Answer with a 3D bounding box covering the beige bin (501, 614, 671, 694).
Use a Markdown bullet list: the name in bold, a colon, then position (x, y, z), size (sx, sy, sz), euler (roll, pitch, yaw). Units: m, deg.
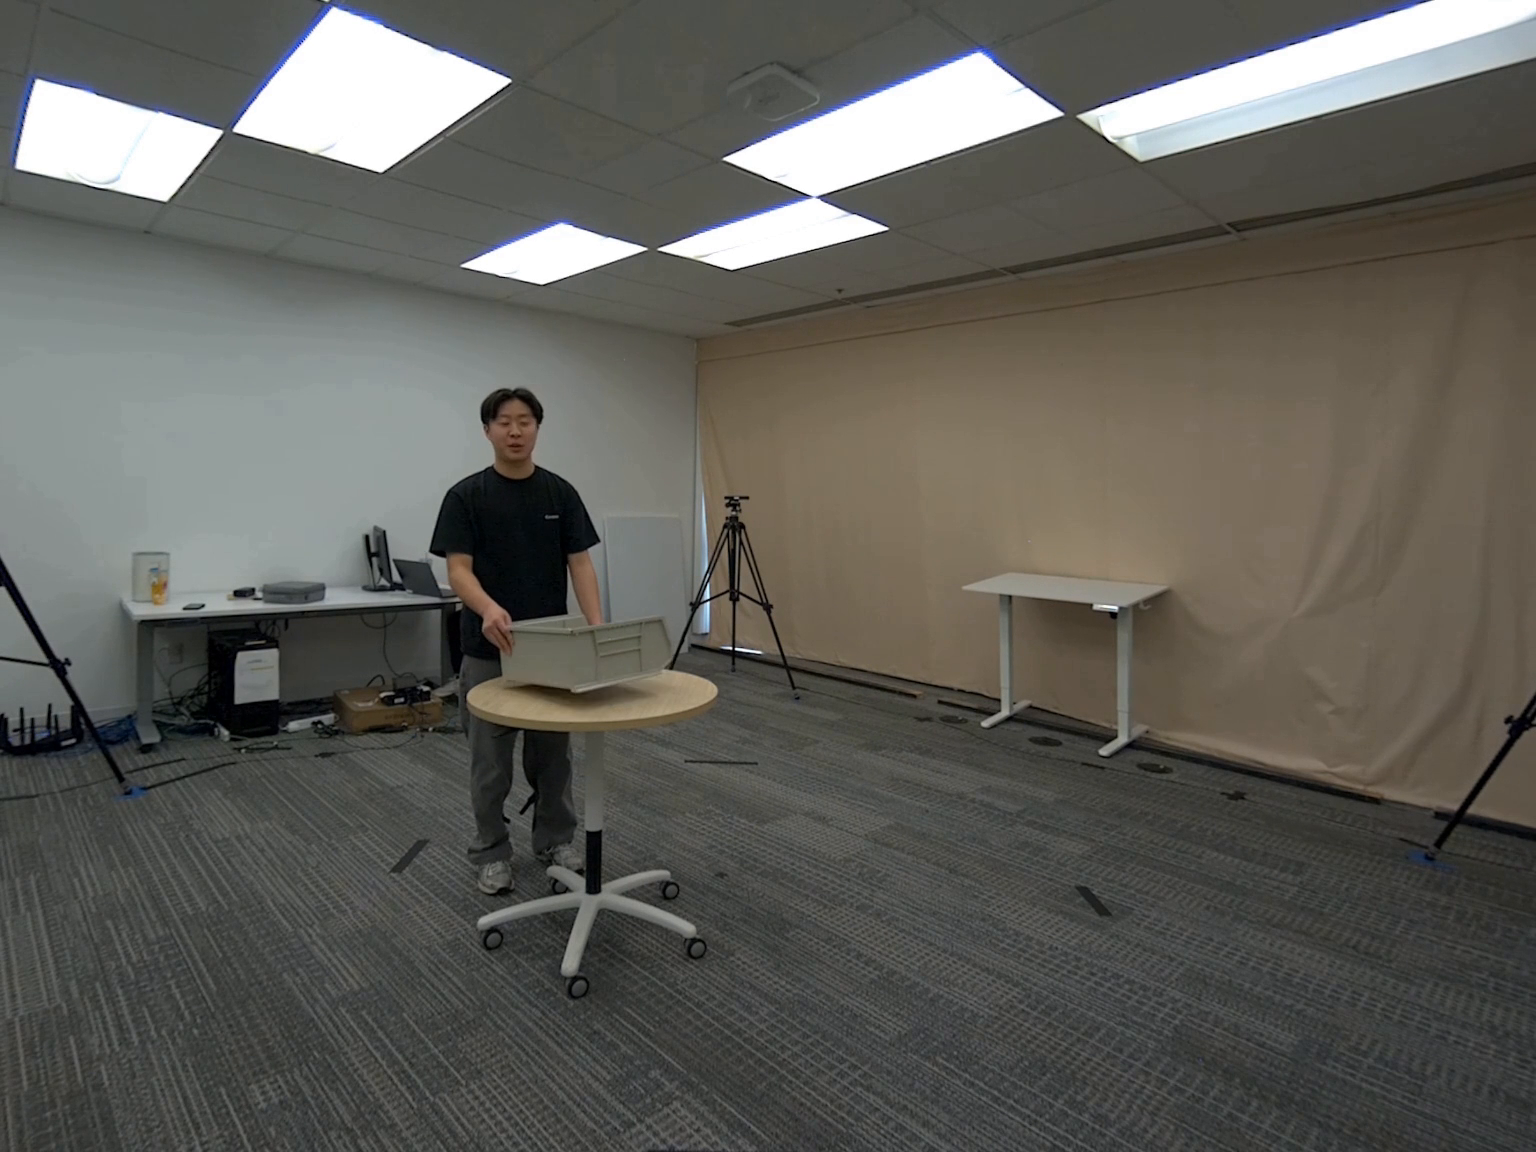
- **beige bin**: position (-0.569, 0.226, 2.609), size (0.432, 0.188, 0.369), euler (0, 5, 44)
